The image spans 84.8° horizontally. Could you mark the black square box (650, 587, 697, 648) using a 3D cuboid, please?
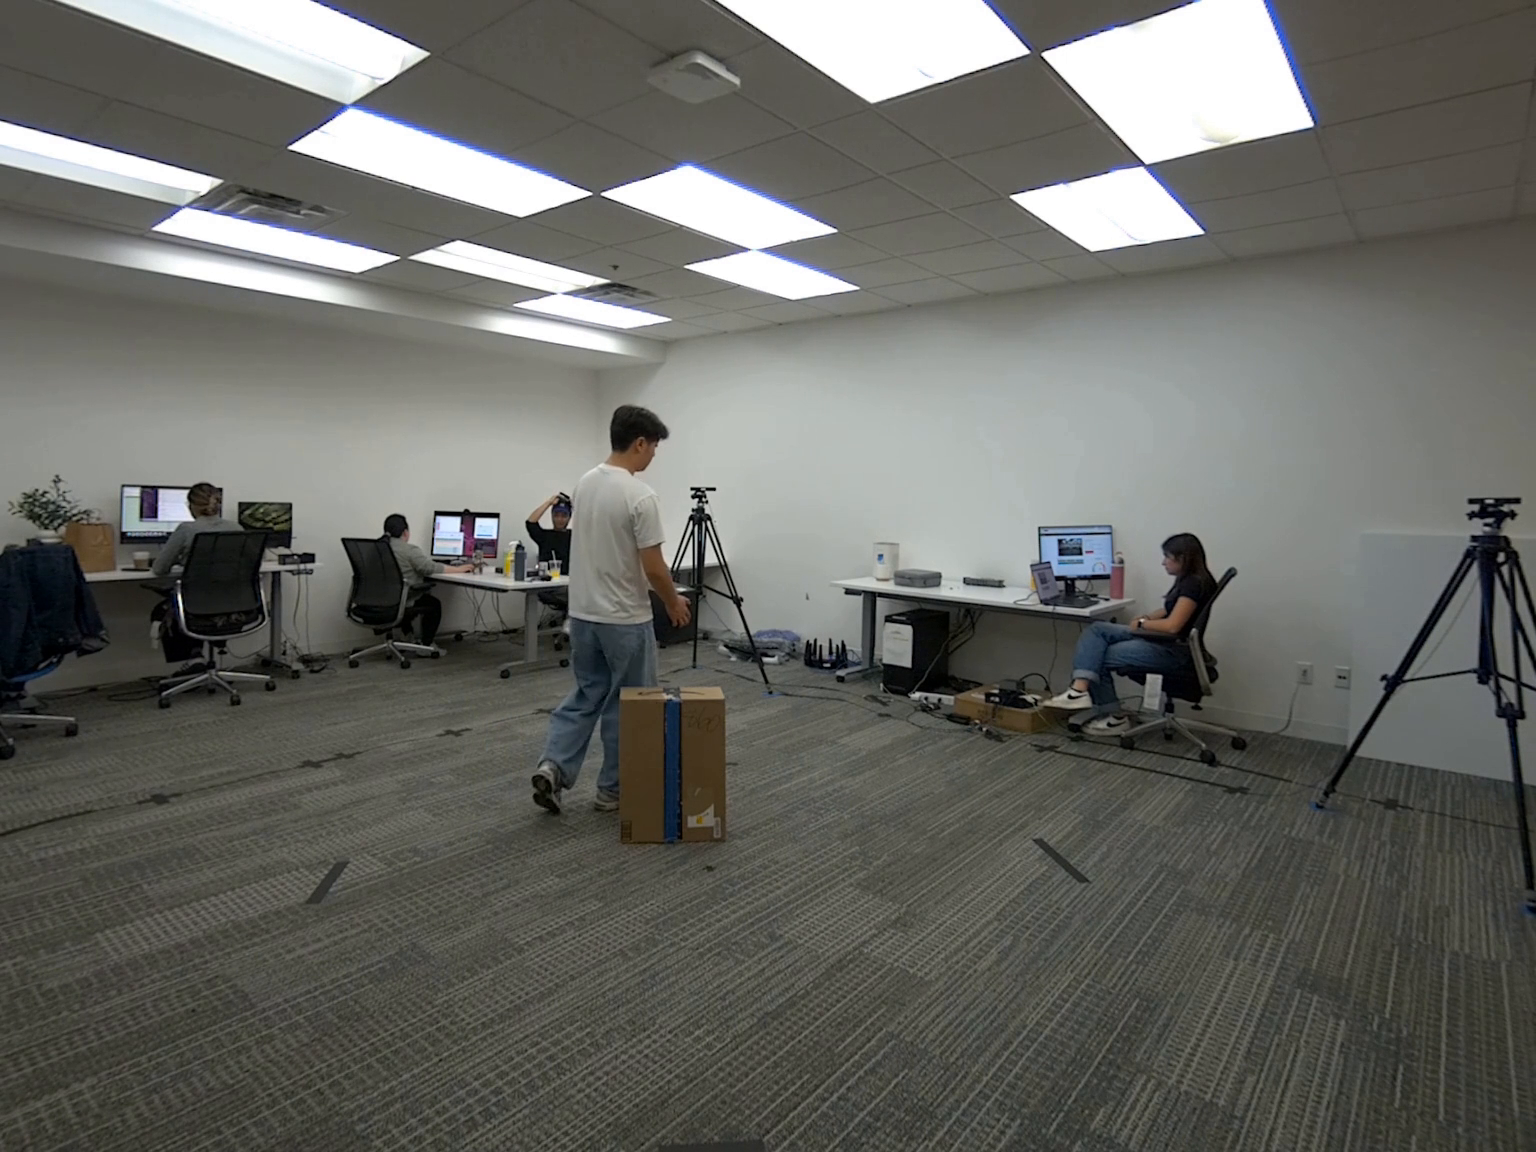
[{"bbox_3d":[-0.463,0.161,3.816,0.152,0.225,0.225,-11,17,-43],"label":"black square box"}]
